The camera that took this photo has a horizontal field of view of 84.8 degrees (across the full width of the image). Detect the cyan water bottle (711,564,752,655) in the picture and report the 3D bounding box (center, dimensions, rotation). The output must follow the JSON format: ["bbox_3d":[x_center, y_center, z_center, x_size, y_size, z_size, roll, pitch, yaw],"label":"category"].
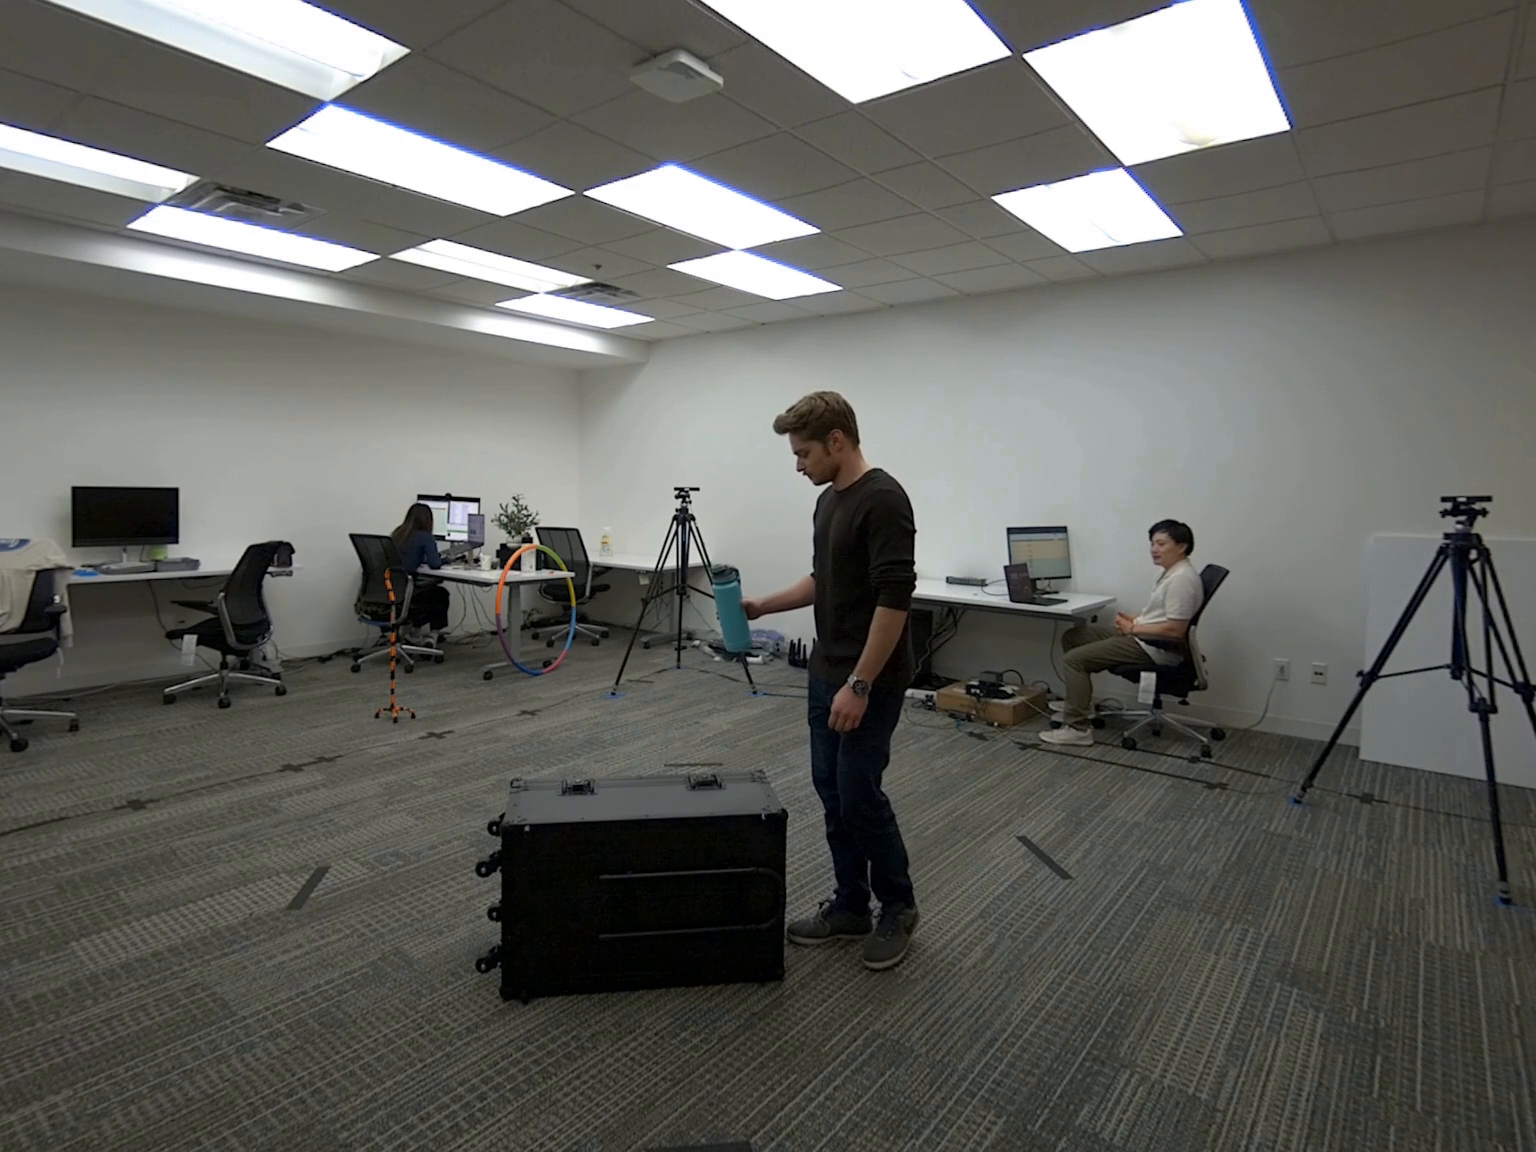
[{"bbox_3d":[-0.122,0.095,2.714,0.092,0.280,0.093,-11,12,1],"label":"cyan water bottle"}]
